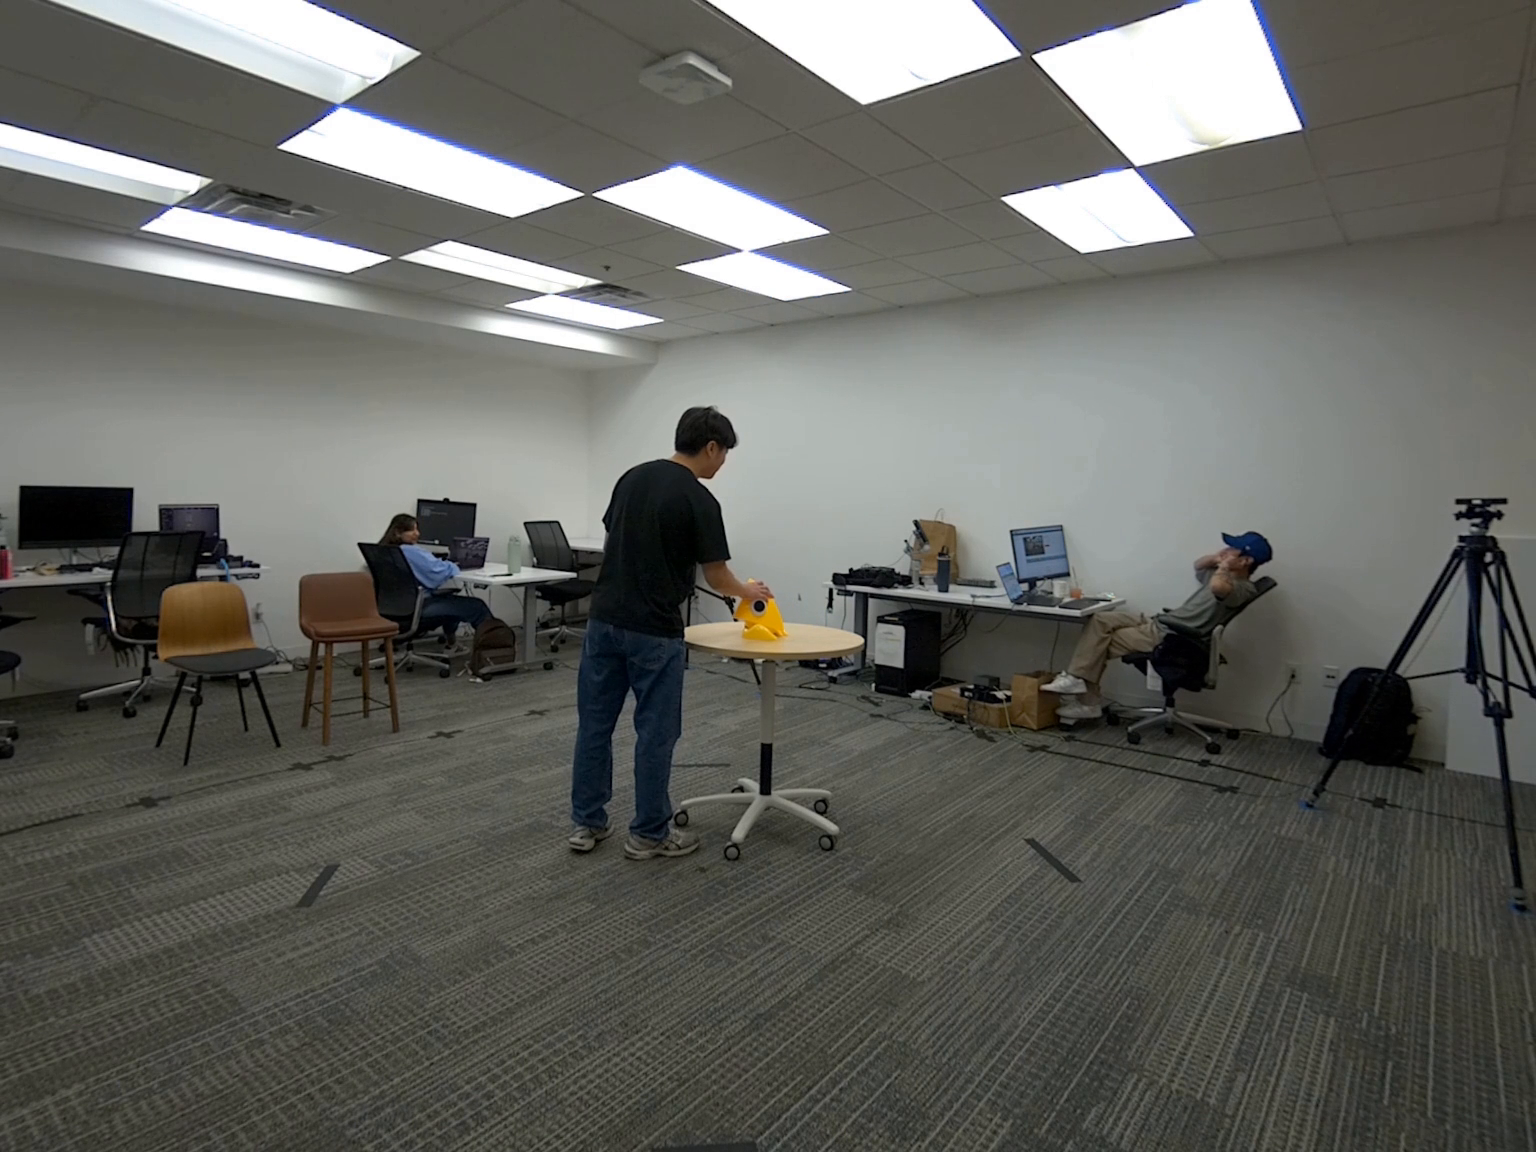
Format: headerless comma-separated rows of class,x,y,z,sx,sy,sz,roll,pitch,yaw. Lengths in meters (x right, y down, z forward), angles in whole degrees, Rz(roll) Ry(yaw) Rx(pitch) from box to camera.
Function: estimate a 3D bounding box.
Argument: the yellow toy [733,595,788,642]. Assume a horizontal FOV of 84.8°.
yellow toy,-0.032,0.131,3.469,0.198,0.230,0.200,3,3,23
